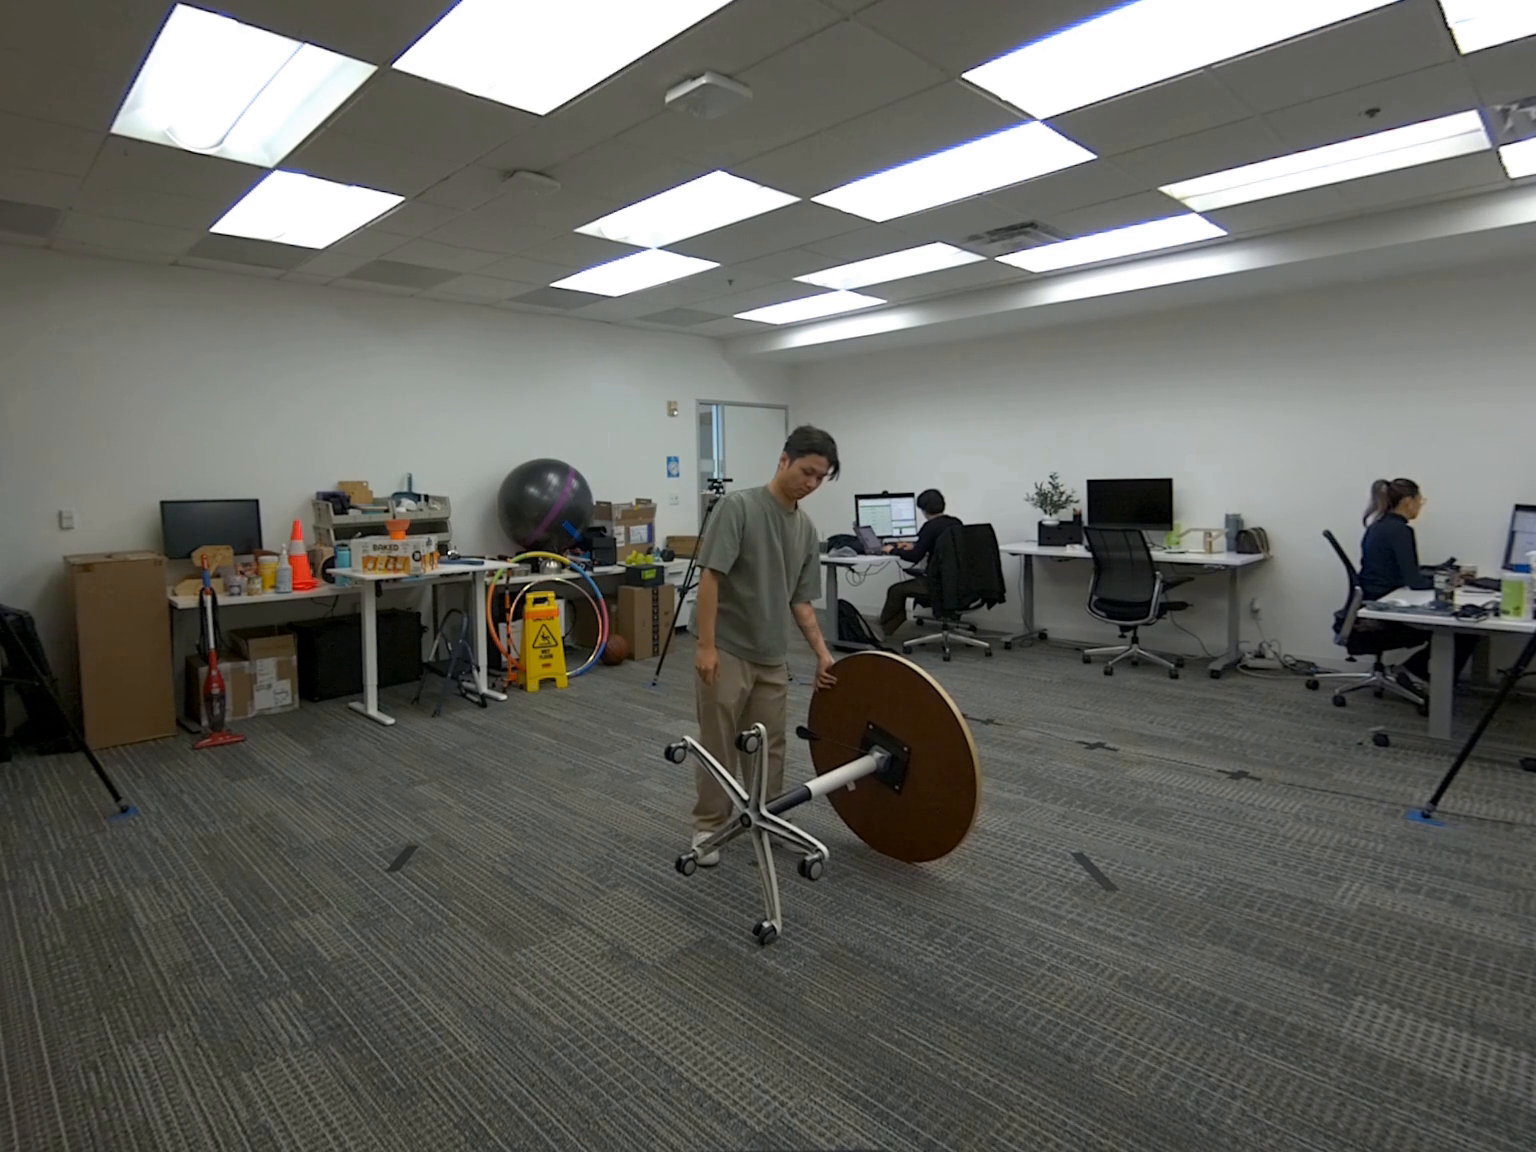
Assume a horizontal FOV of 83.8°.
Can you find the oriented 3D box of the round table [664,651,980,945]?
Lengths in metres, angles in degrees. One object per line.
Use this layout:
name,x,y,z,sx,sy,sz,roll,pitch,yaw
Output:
round table,0.160,0.720,2.858,0.769,0.779,0.809,-12,11,-41
